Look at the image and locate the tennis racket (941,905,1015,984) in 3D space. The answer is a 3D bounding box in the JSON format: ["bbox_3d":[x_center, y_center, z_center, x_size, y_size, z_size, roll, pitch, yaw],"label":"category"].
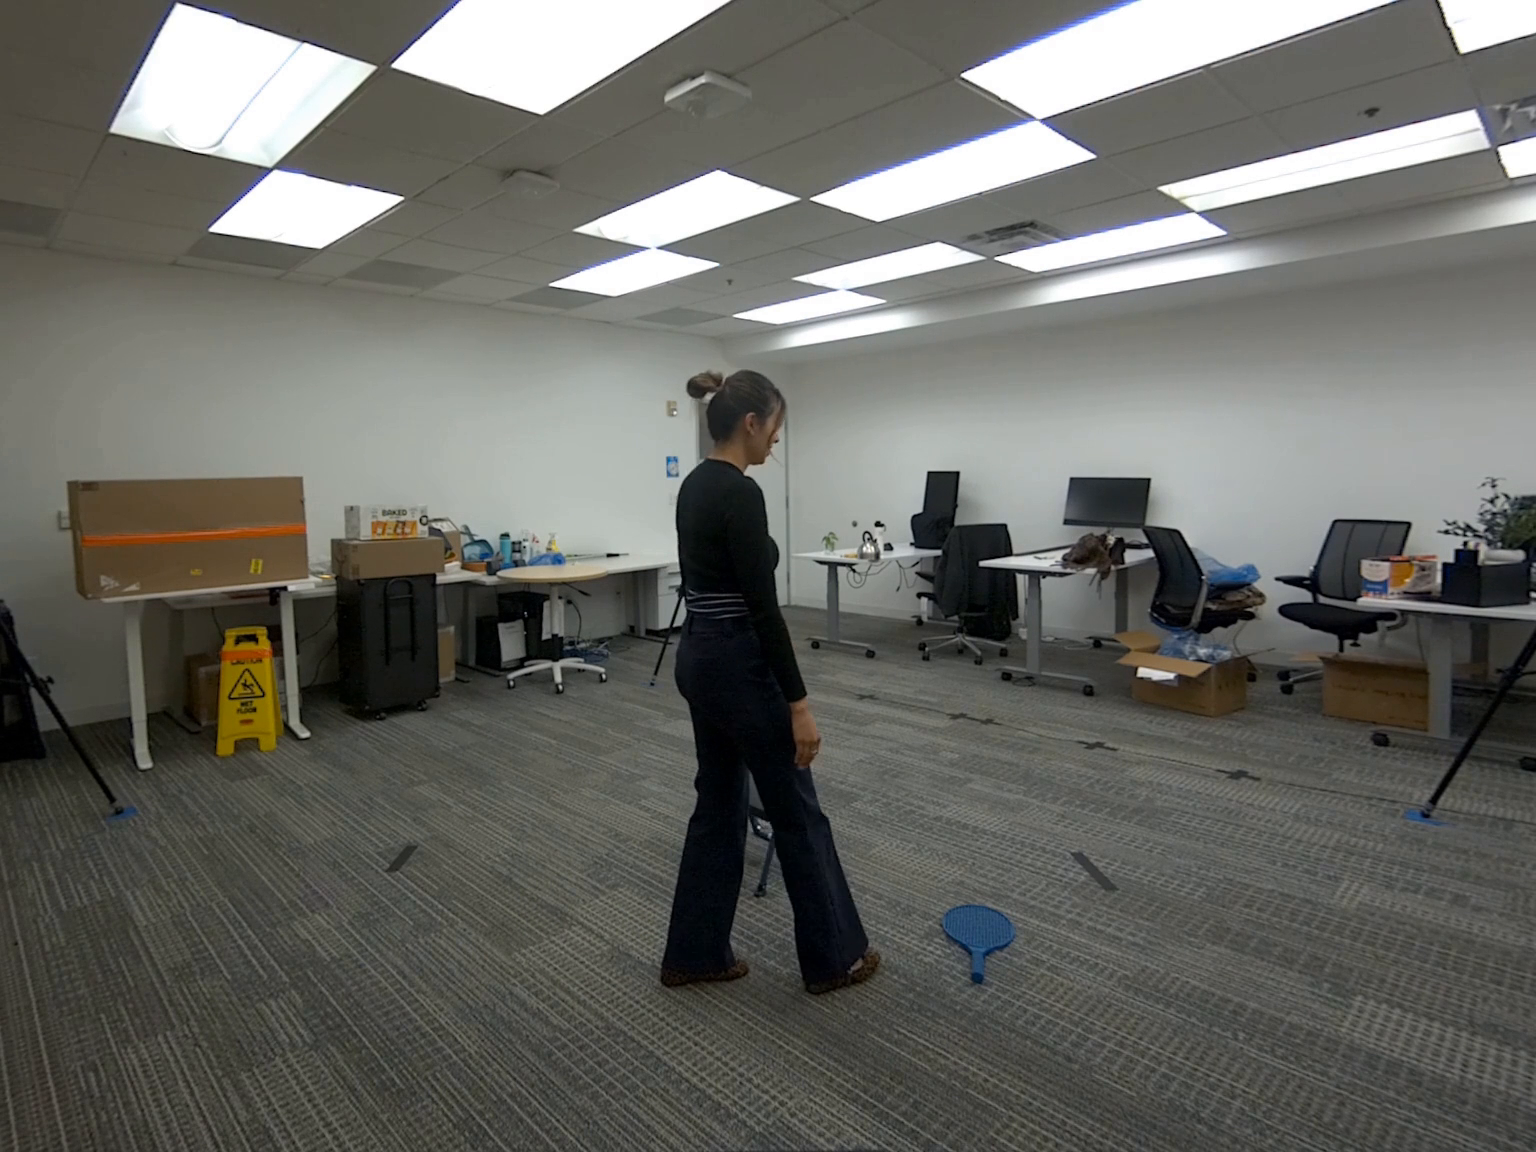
[{"bbox_3d":[0.628,1.081,2.553,0.217,0.031,0.429,1,6,12],"label":"tennis racket"}]
